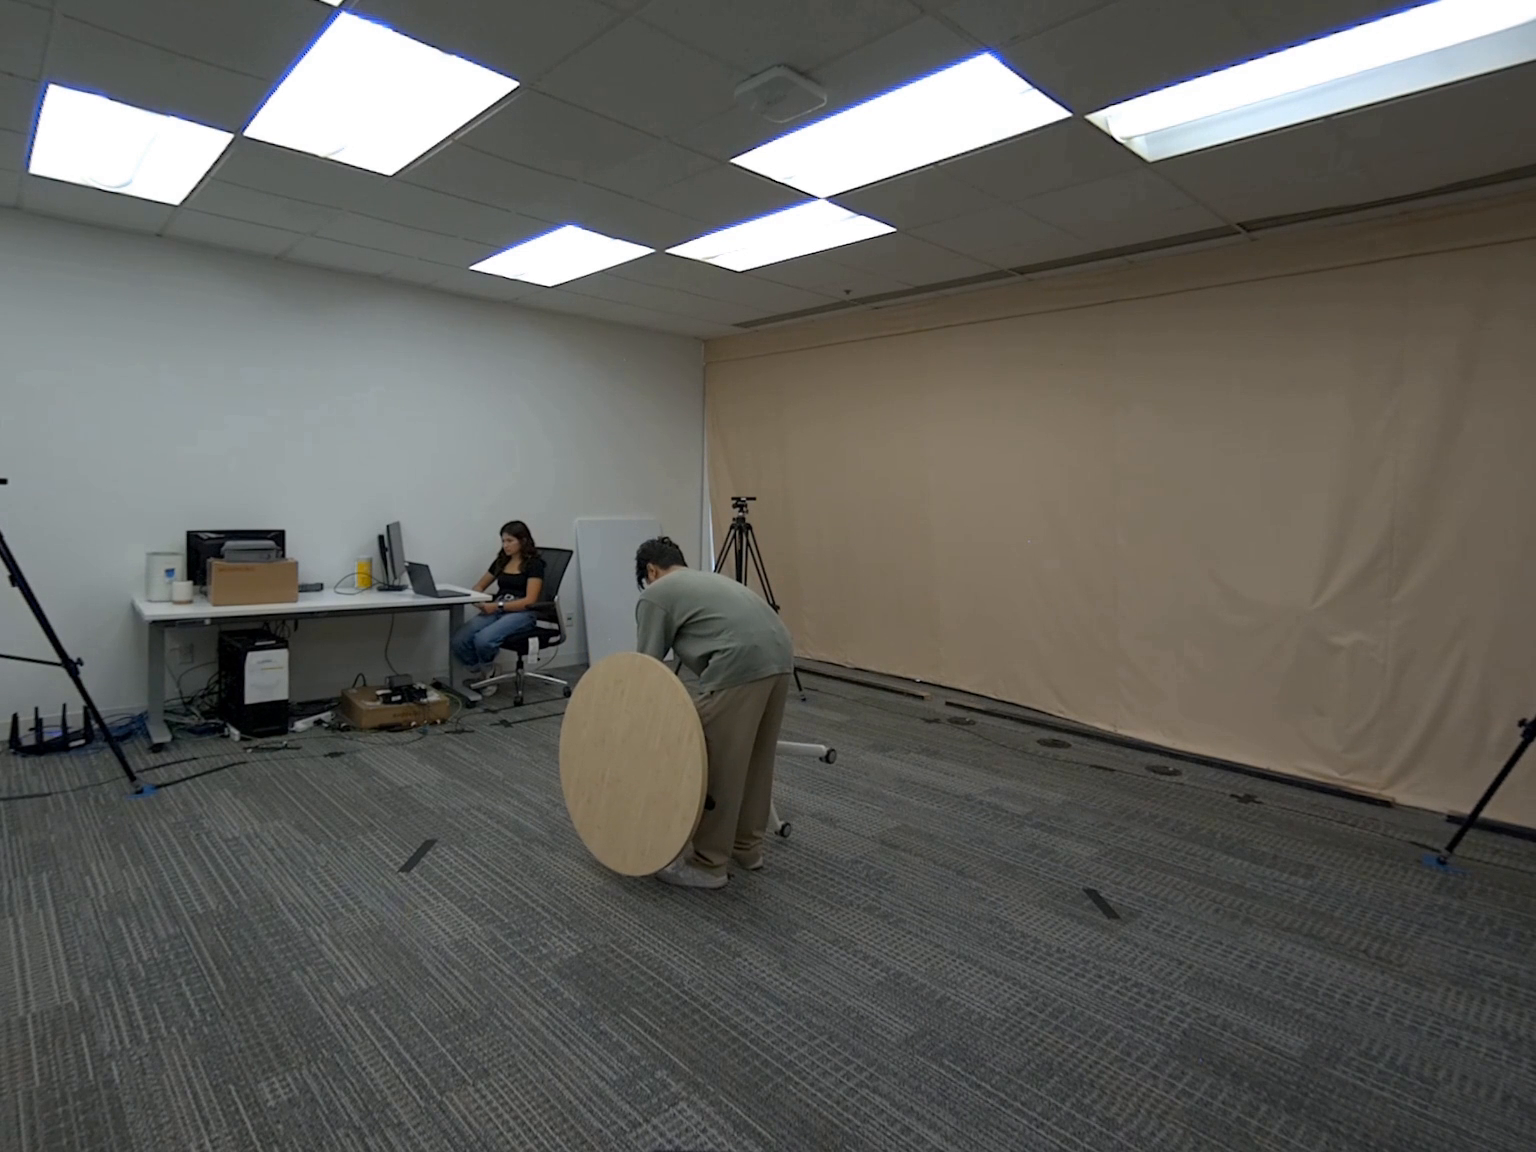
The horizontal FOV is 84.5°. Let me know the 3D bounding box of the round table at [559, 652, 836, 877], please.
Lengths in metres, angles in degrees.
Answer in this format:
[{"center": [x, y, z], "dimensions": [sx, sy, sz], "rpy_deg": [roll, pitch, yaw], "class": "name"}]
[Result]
[{"center": [-0.266, 0.681, 3.273], "dimensions": [0.805, 0.786, 0.766], "rpy_deg": [5, -1, 41], "class": "round table"}]
